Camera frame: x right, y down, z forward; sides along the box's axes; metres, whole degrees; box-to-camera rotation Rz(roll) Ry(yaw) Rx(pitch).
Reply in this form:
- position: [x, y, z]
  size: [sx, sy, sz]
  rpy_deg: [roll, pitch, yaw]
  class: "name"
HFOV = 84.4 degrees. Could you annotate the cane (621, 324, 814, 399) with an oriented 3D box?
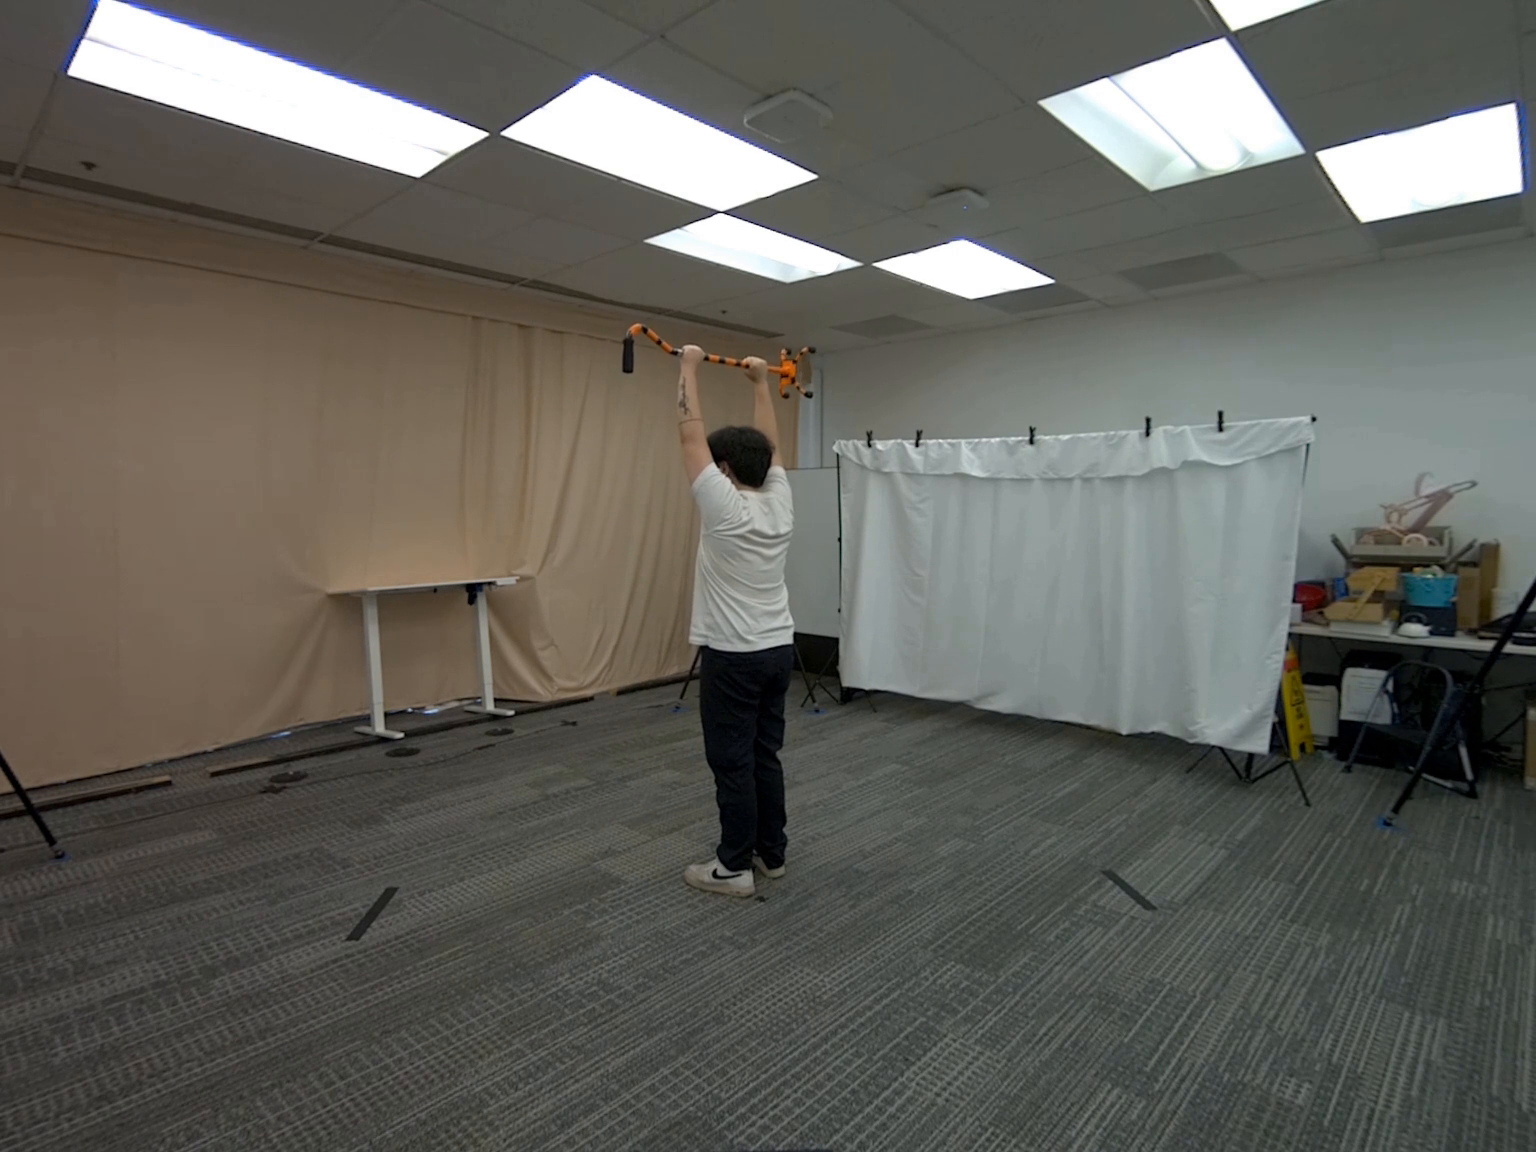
- position: [-0.171, -0.794, 3.085]
  size: [0.157, 0.206, 0.880]
  rpy_deg: [6, 8, 42]
  class: "cane"
